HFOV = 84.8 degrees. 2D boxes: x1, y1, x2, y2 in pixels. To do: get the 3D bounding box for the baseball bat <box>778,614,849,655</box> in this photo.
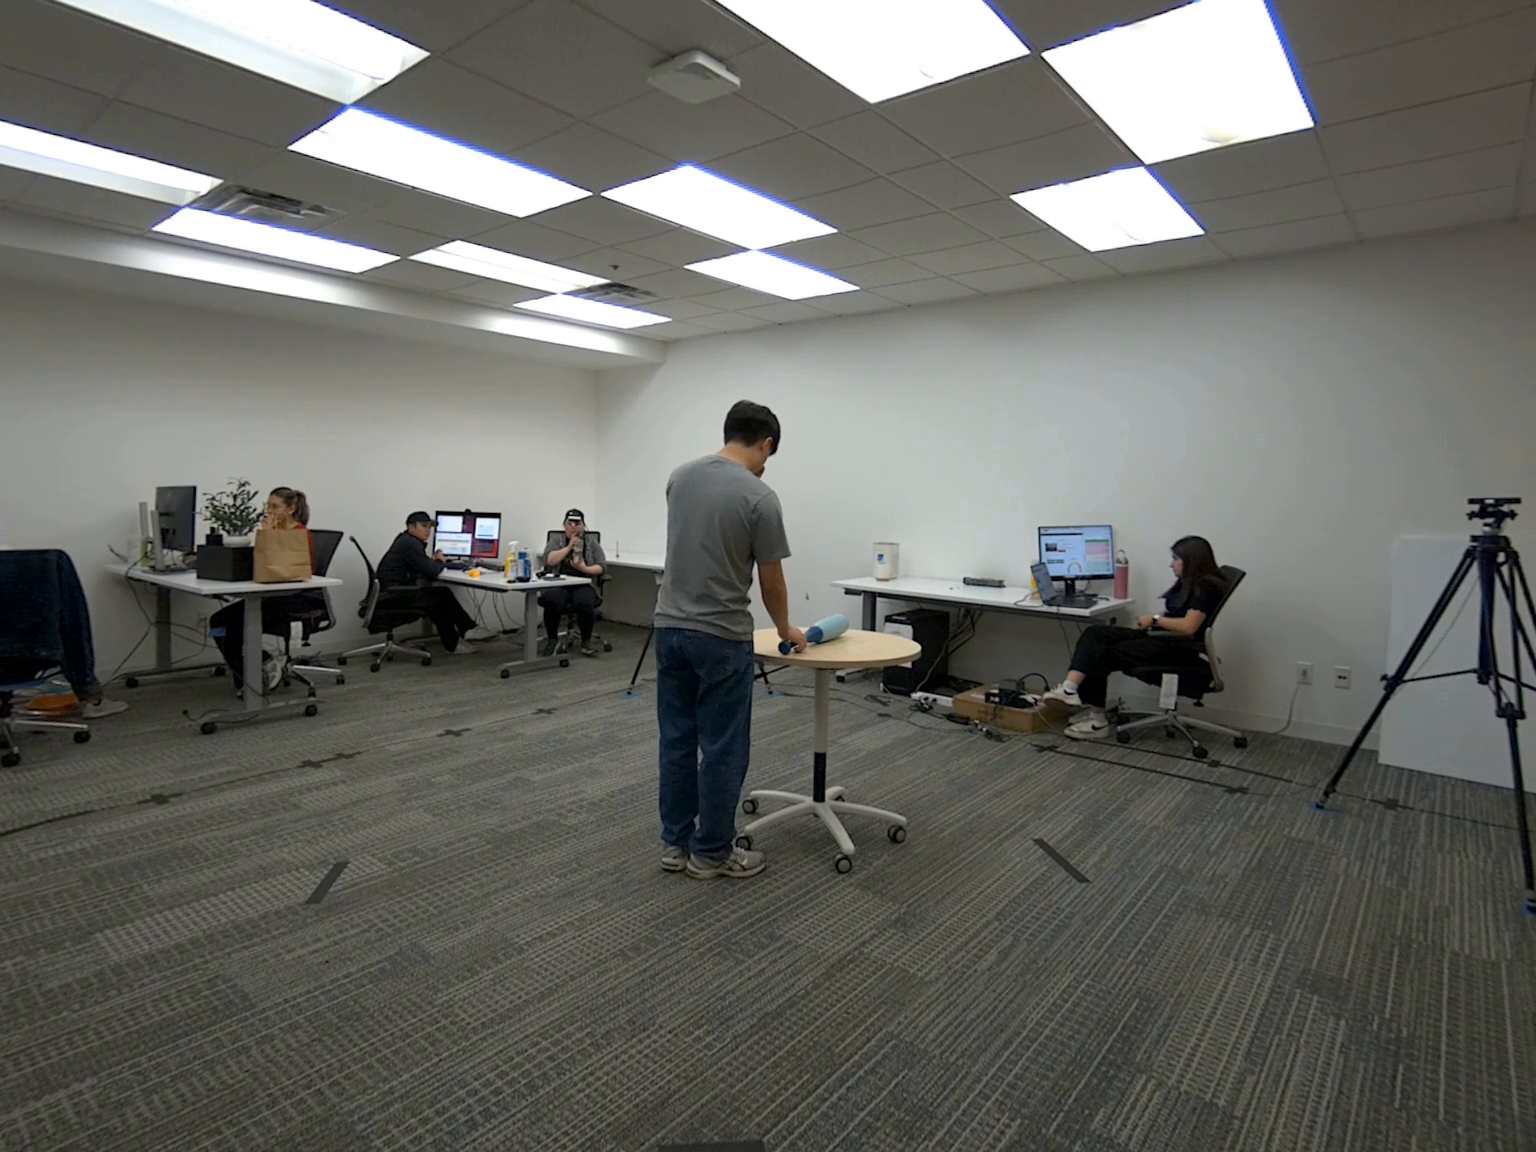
[{"bbox_3d":[0.174,0.229,3.344,0.091,0.088,0.531,3,9,28],"label":"baseball bat"}]
